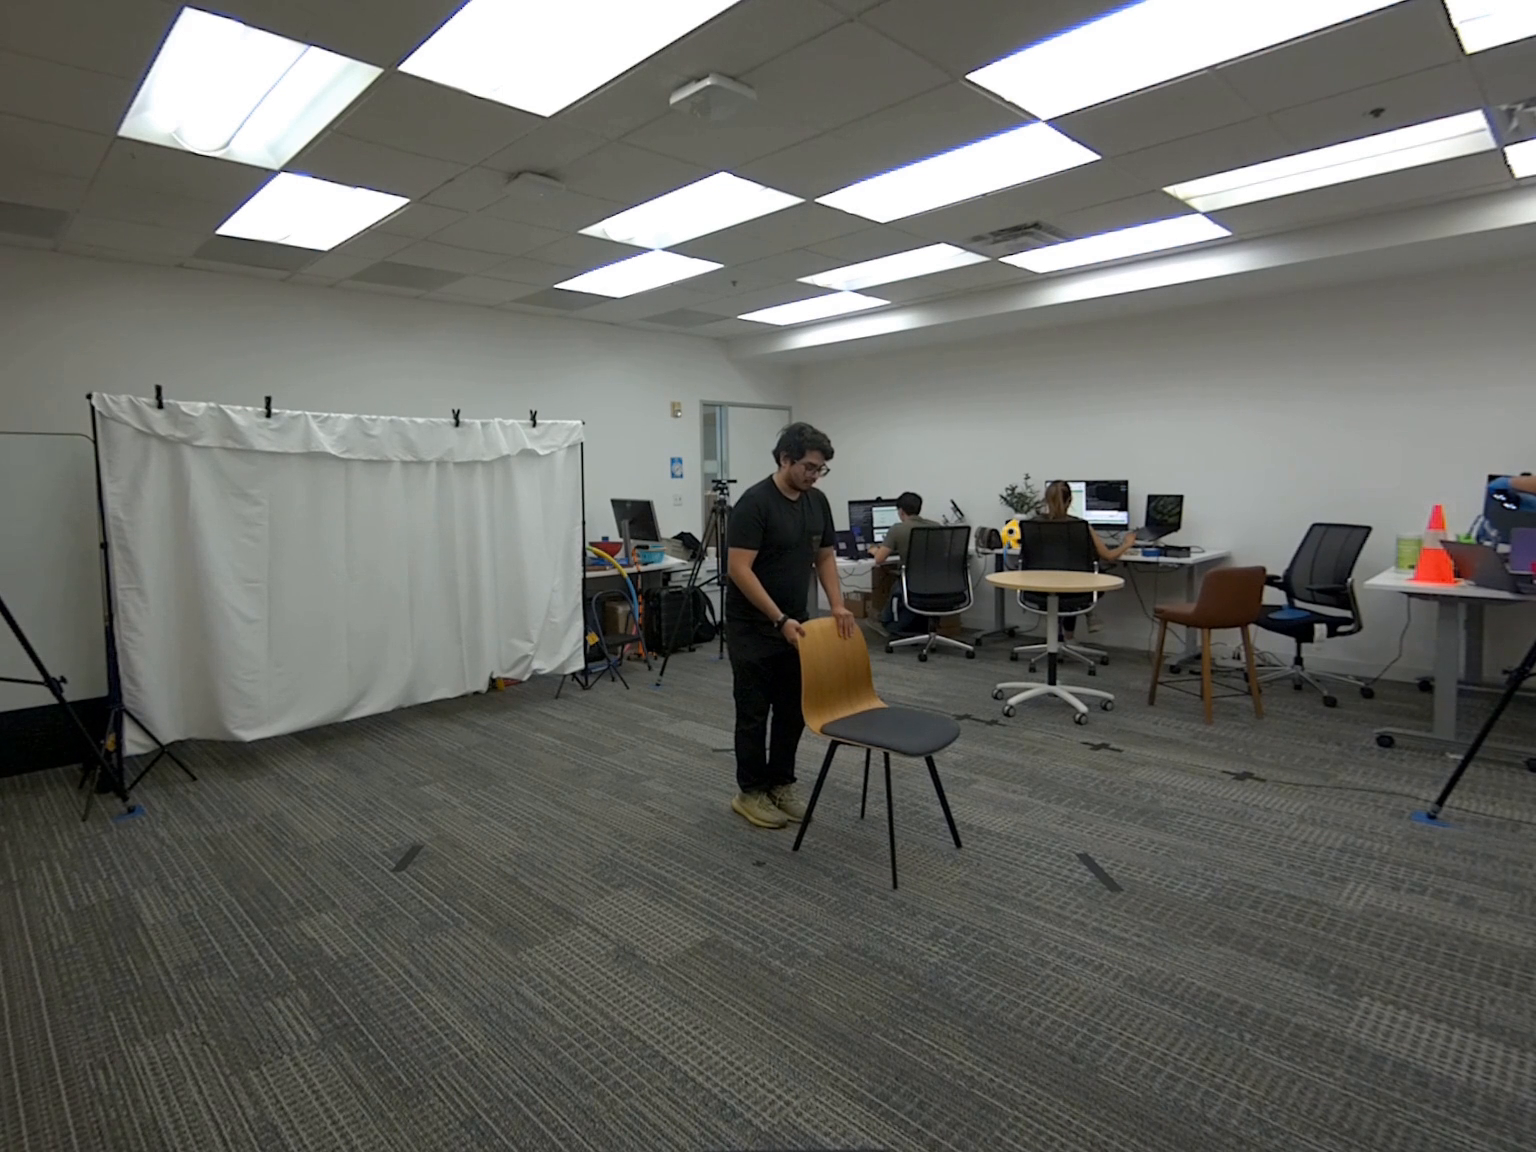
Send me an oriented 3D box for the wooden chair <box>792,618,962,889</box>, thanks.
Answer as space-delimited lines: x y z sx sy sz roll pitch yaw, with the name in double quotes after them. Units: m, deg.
0.414 0.605 3.172 0.537 0.877 0.465 -3 1 43 "wooden chair"
